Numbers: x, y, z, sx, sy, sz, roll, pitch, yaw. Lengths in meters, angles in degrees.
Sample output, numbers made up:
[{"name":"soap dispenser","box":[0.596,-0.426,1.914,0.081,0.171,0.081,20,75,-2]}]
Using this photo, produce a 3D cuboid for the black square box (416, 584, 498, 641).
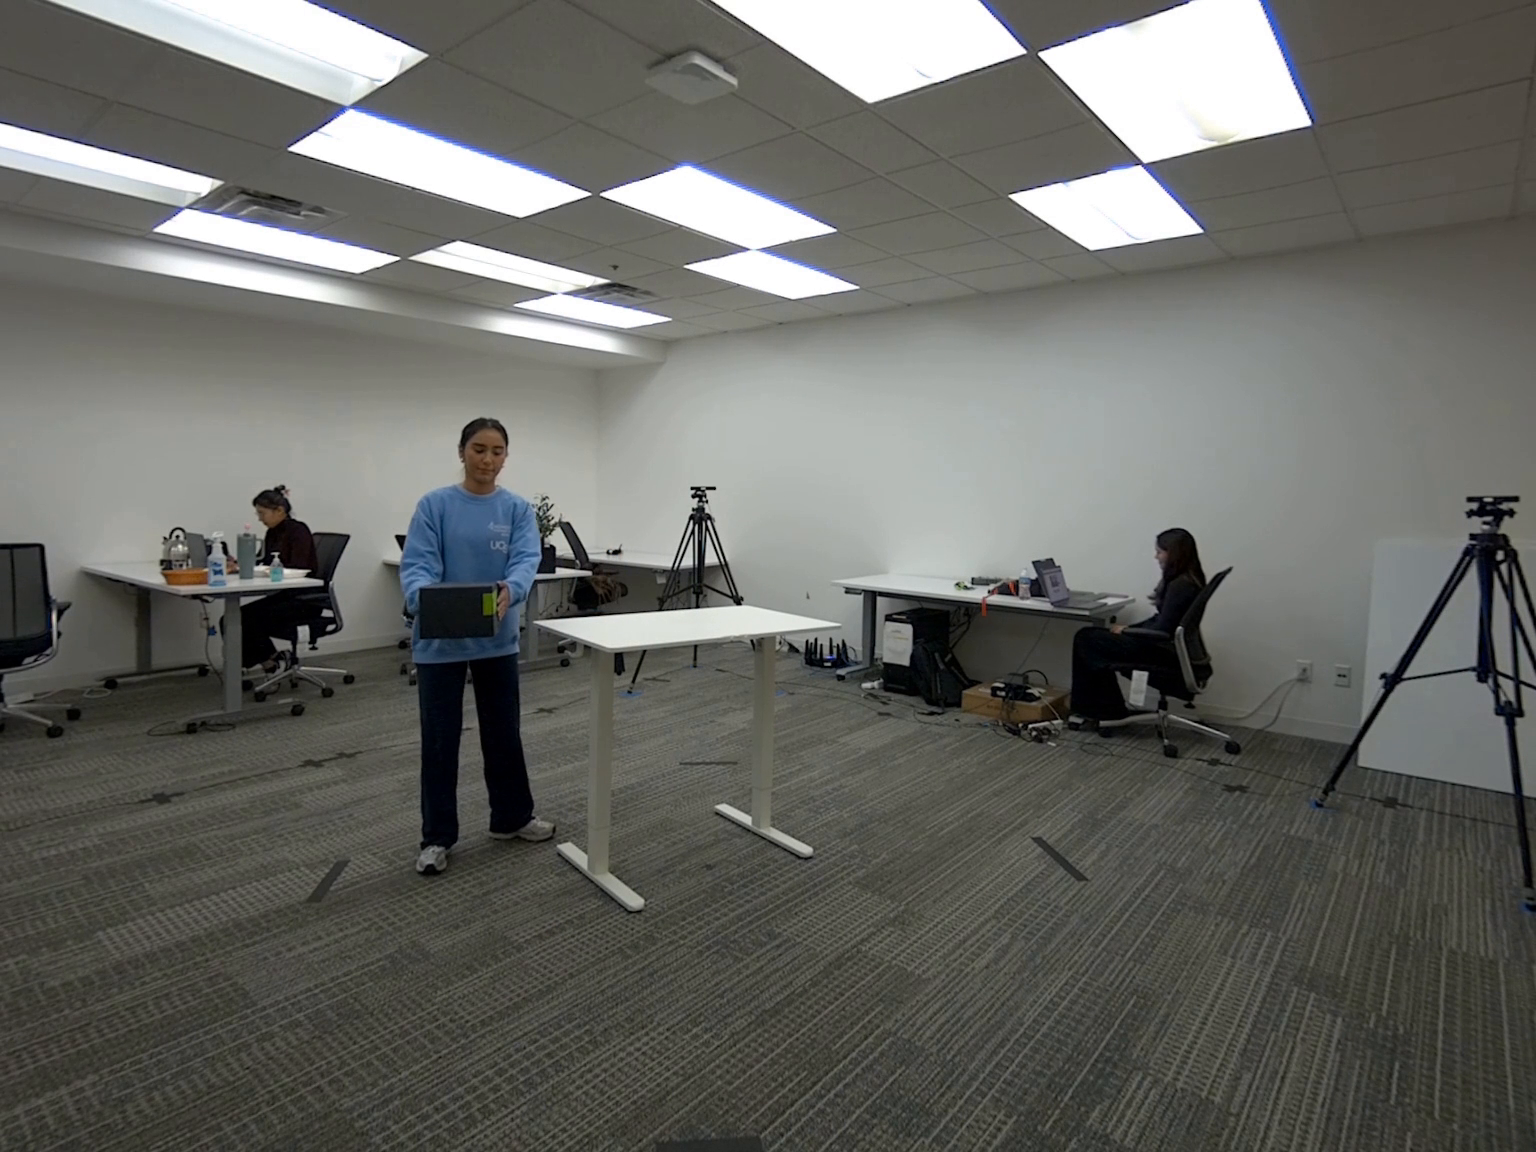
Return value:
[{"name":"black square box","box":[-0.966,0.099,2.651,0.215,0.156,0.231,-1,2,-11]}]
